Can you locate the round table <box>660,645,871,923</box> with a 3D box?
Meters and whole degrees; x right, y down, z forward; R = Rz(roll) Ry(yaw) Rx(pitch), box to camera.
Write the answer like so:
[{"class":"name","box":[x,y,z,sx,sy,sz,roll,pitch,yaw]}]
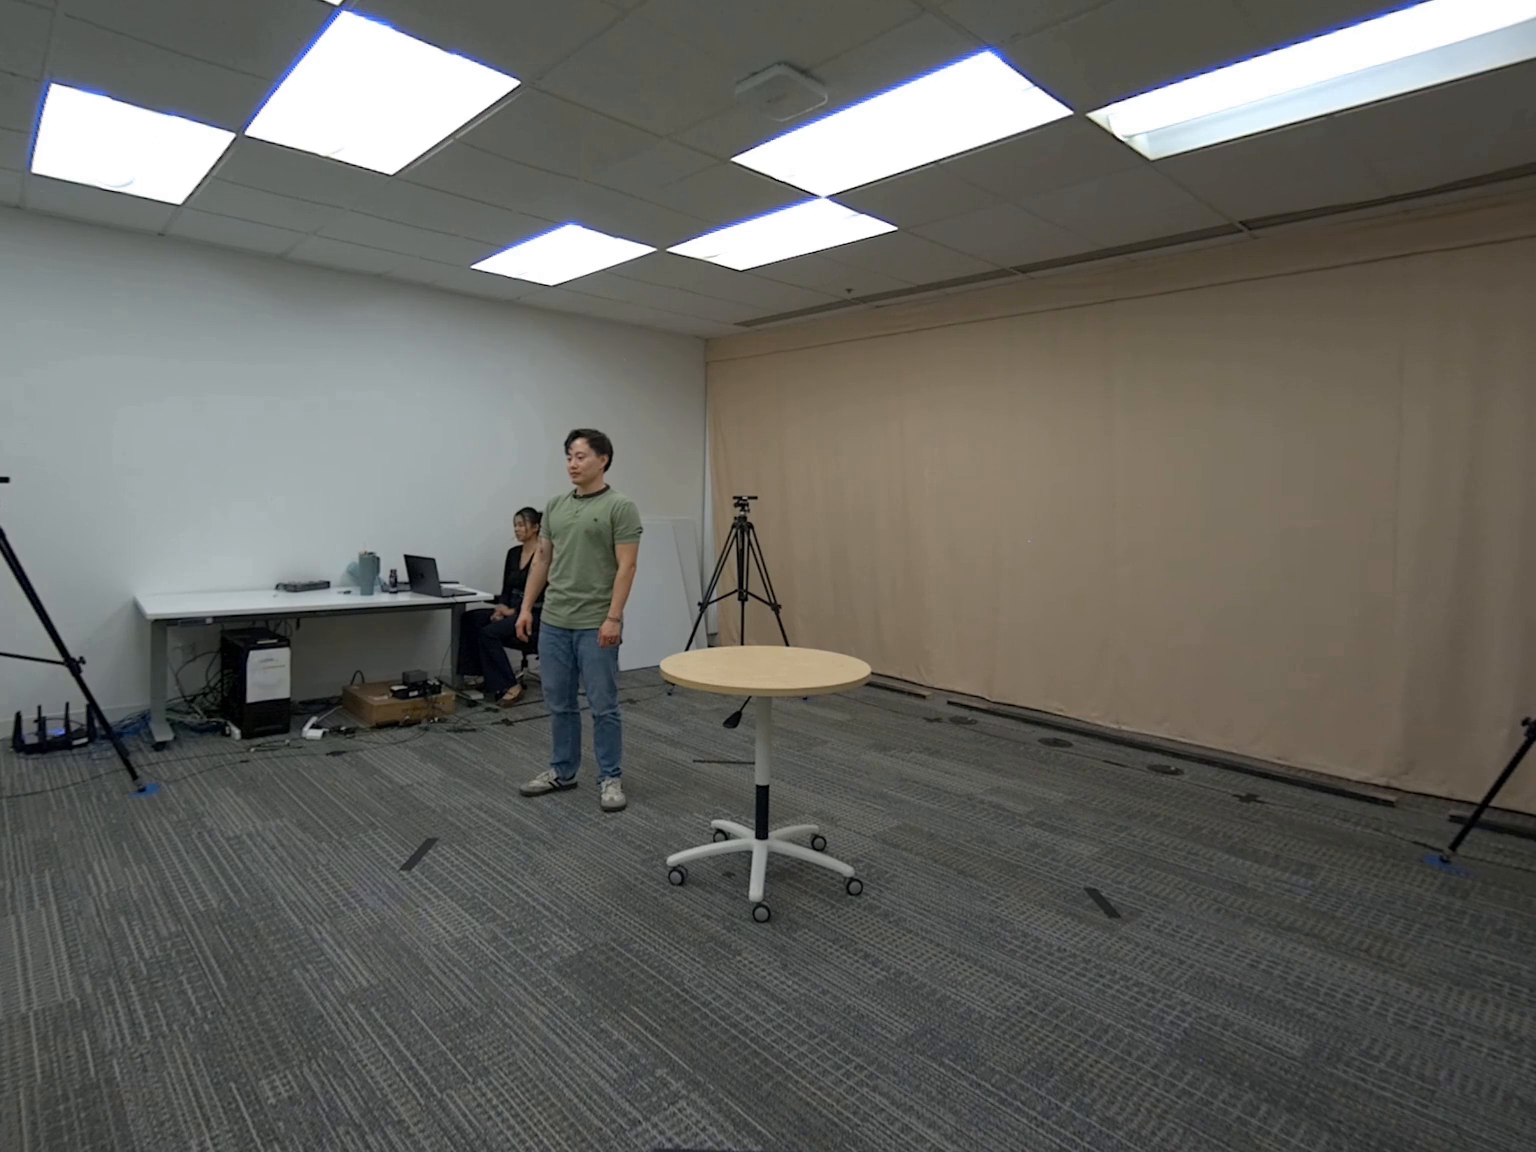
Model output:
[{"class":"round table","box":[-0.024,0.717,3.082,0.763,0.792,0.766,1,4,-1]}]
